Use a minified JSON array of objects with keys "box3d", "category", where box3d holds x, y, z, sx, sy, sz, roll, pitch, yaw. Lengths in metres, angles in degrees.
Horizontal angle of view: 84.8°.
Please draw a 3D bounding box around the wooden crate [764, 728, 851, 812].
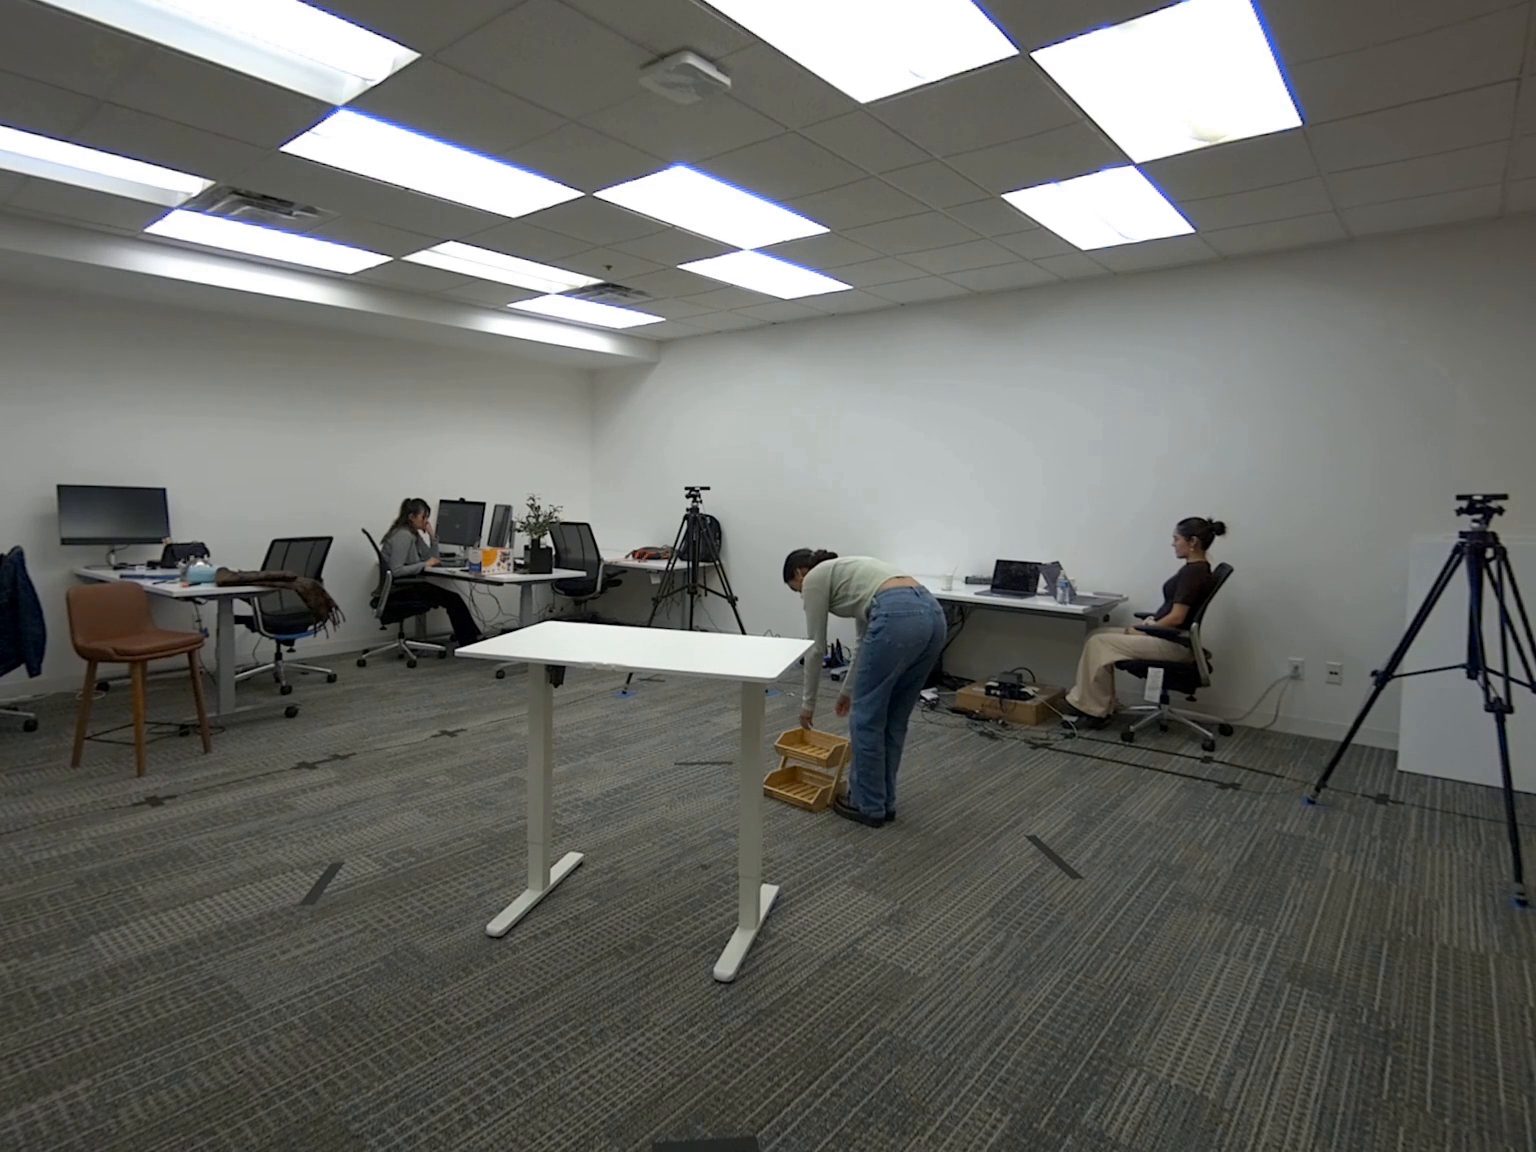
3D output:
[{"box3d":[0.166,0.860,3.854,0.335,0.272,0.293,5,6,42],"category":"wooden crate"}]
